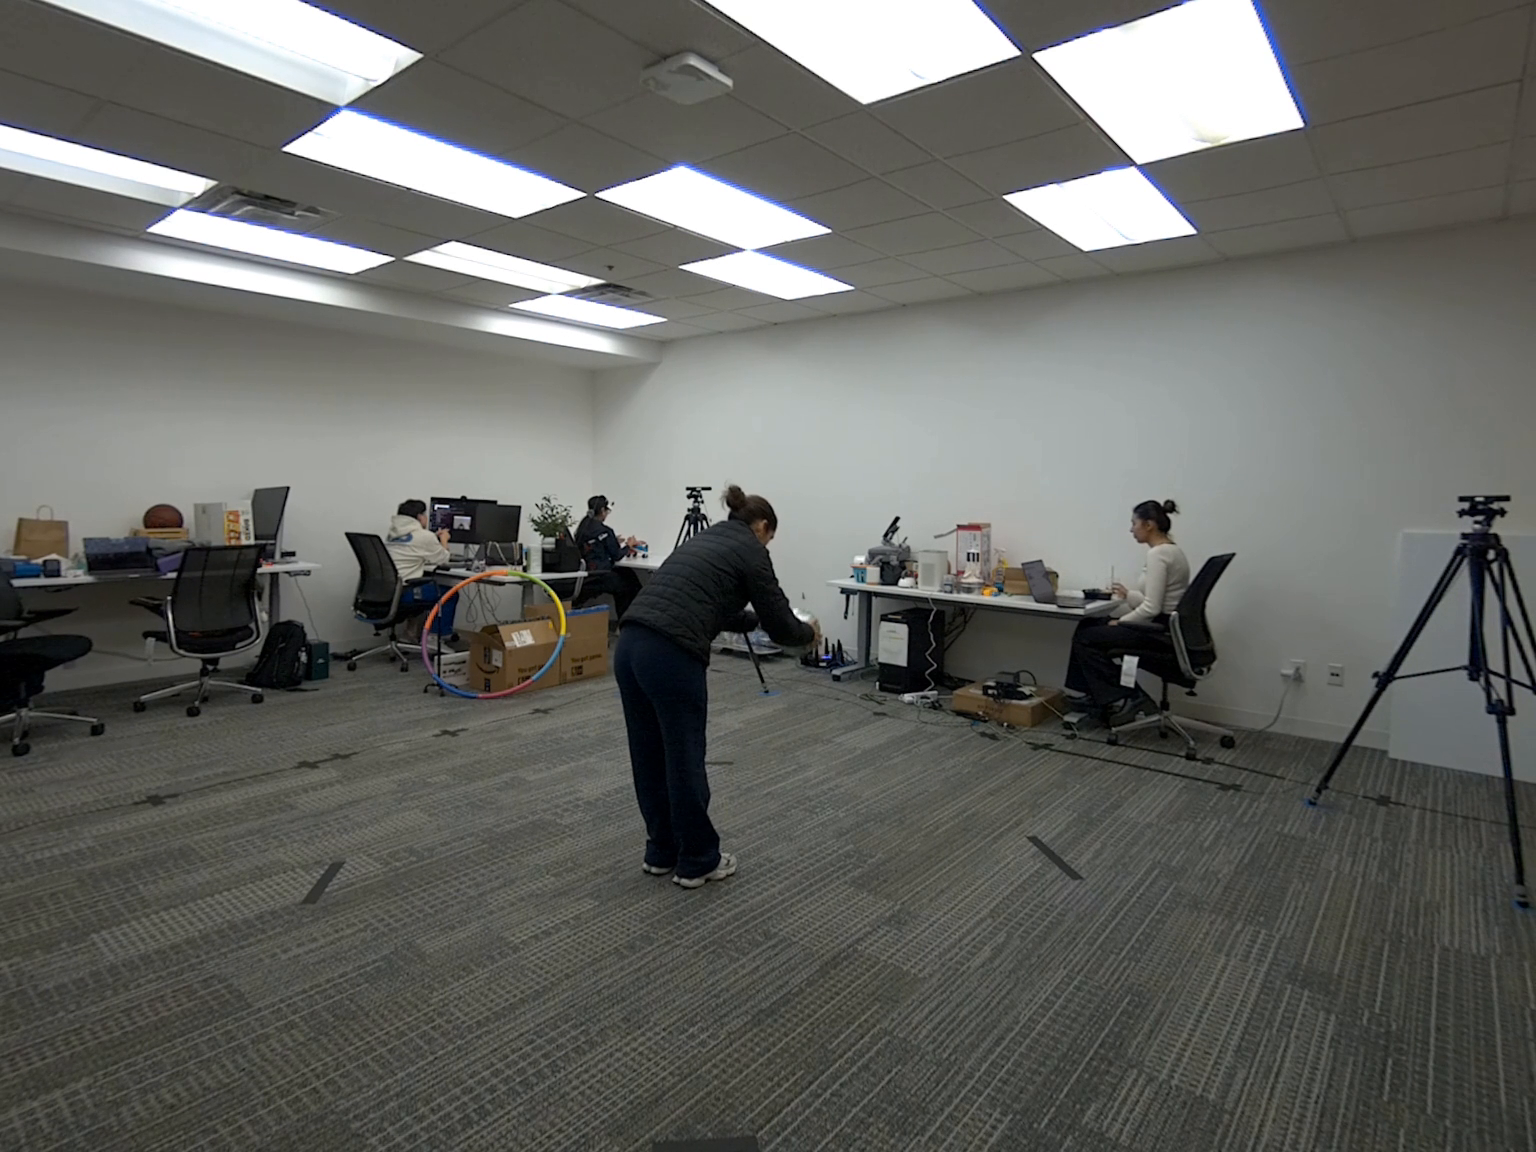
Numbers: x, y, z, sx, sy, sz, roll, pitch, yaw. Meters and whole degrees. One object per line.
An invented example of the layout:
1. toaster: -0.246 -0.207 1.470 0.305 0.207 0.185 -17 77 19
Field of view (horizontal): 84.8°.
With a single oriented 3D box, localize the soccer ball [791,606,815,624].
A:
1. soccer ball: 0.109 0.205 3.414 0.187 0.187 0.188 1 4 -2
